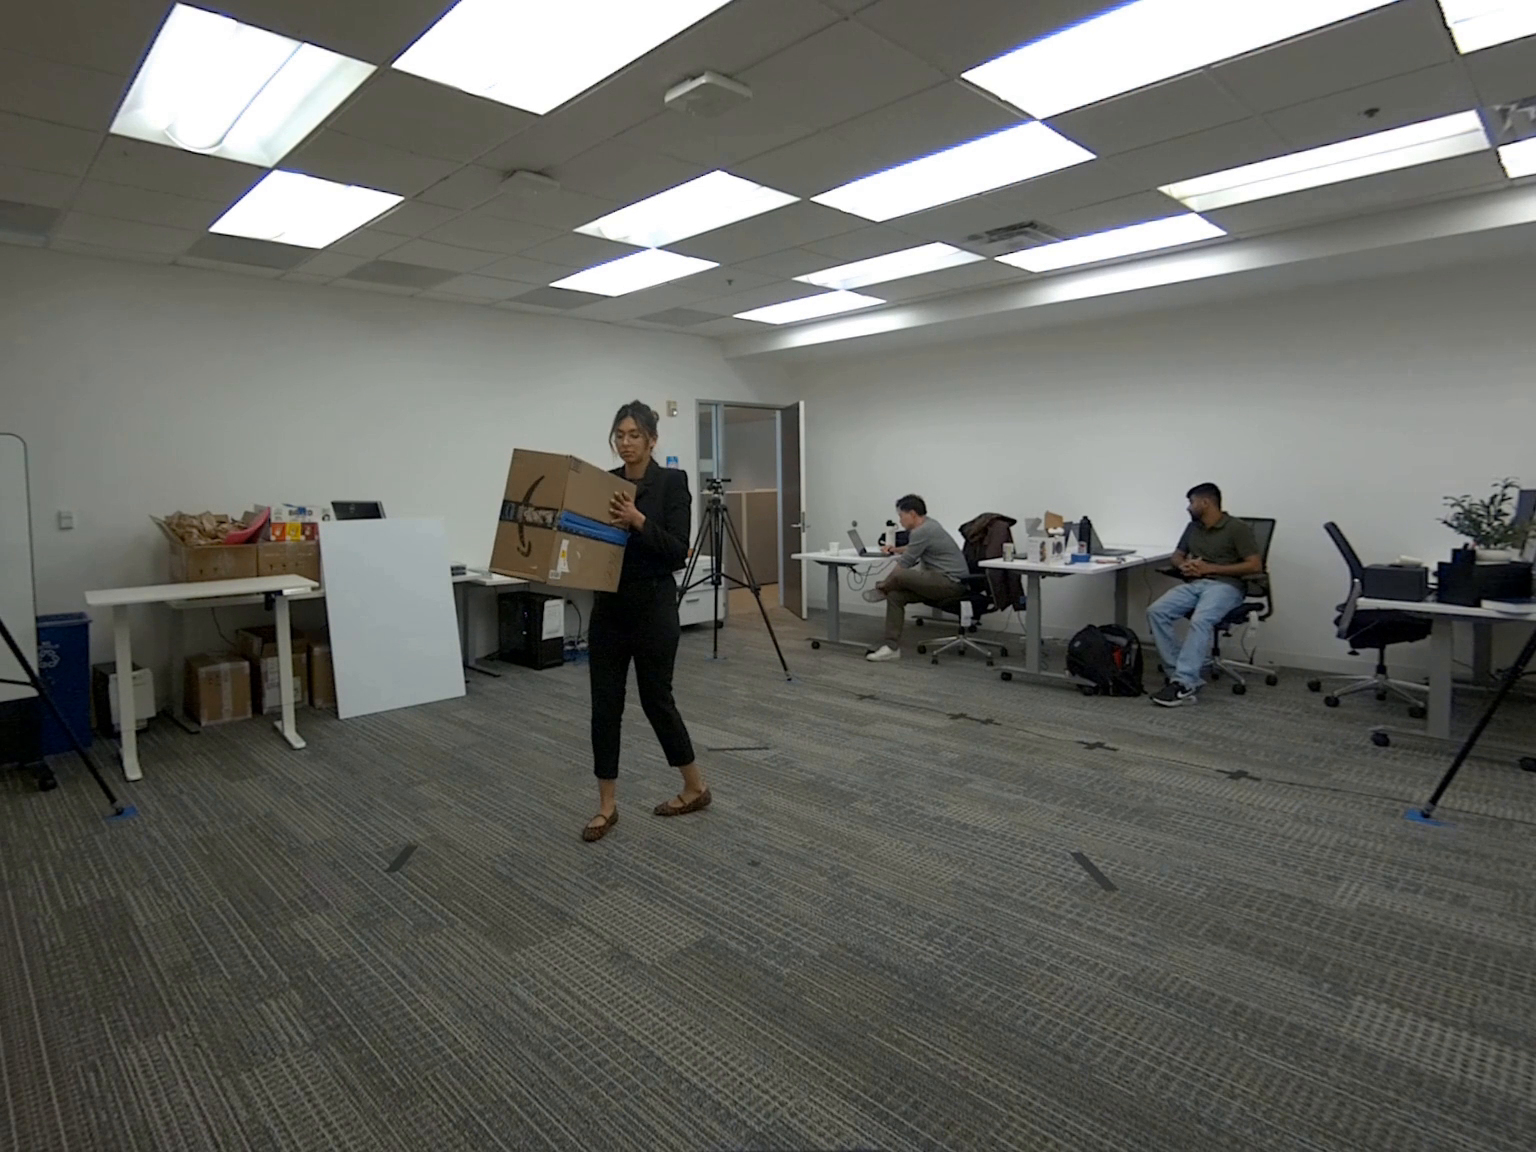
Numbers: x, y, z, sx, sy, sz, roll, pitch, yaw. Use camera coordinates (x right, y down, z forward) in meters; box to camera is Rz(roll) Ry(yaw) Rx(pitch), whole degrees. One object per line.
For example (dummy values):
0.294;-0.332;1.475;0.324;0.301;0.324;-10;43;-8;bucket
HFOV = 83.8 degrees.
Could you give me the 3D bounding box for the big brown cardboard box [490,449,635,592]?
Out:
-0.701;-0.180;3.000;0.237;0.418;0.578;10;-2;13;big brown cardboard box
